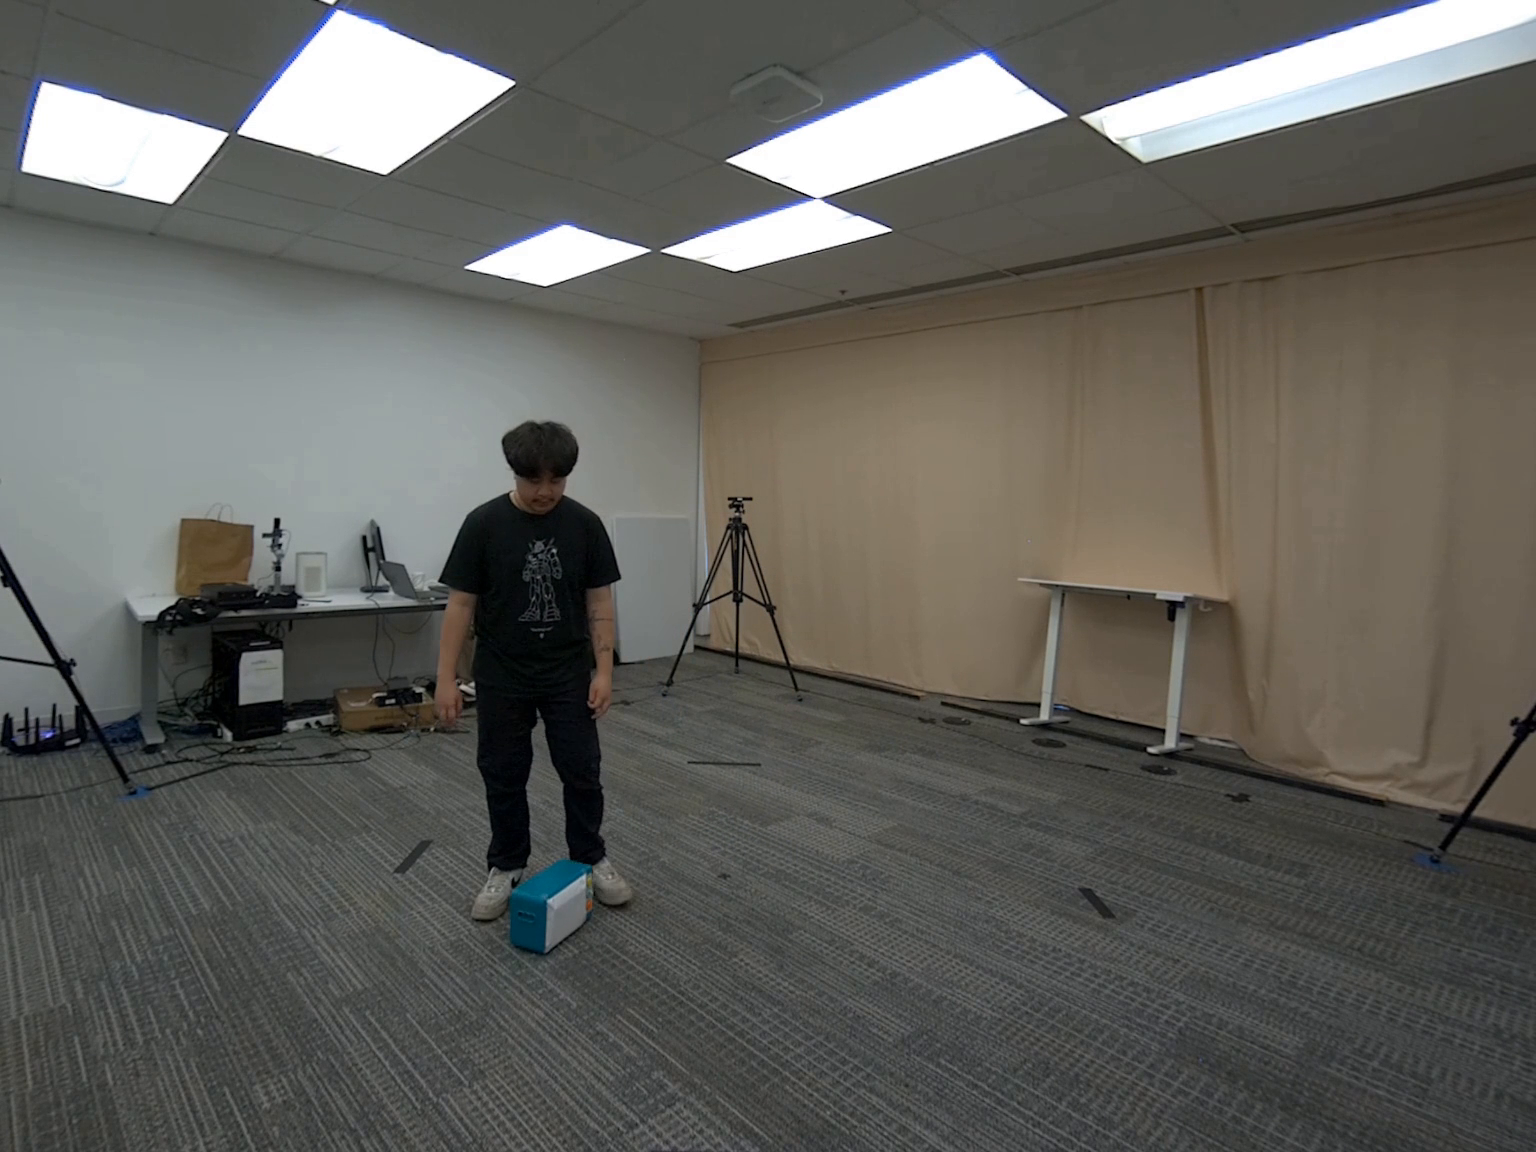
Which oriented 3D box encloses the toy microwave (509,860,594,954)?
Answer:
[{"bbox_3d":[-0.685,1.047,2.665,0.155,0.184,0.281,2,4,23],"label":"toy microwave"}]
